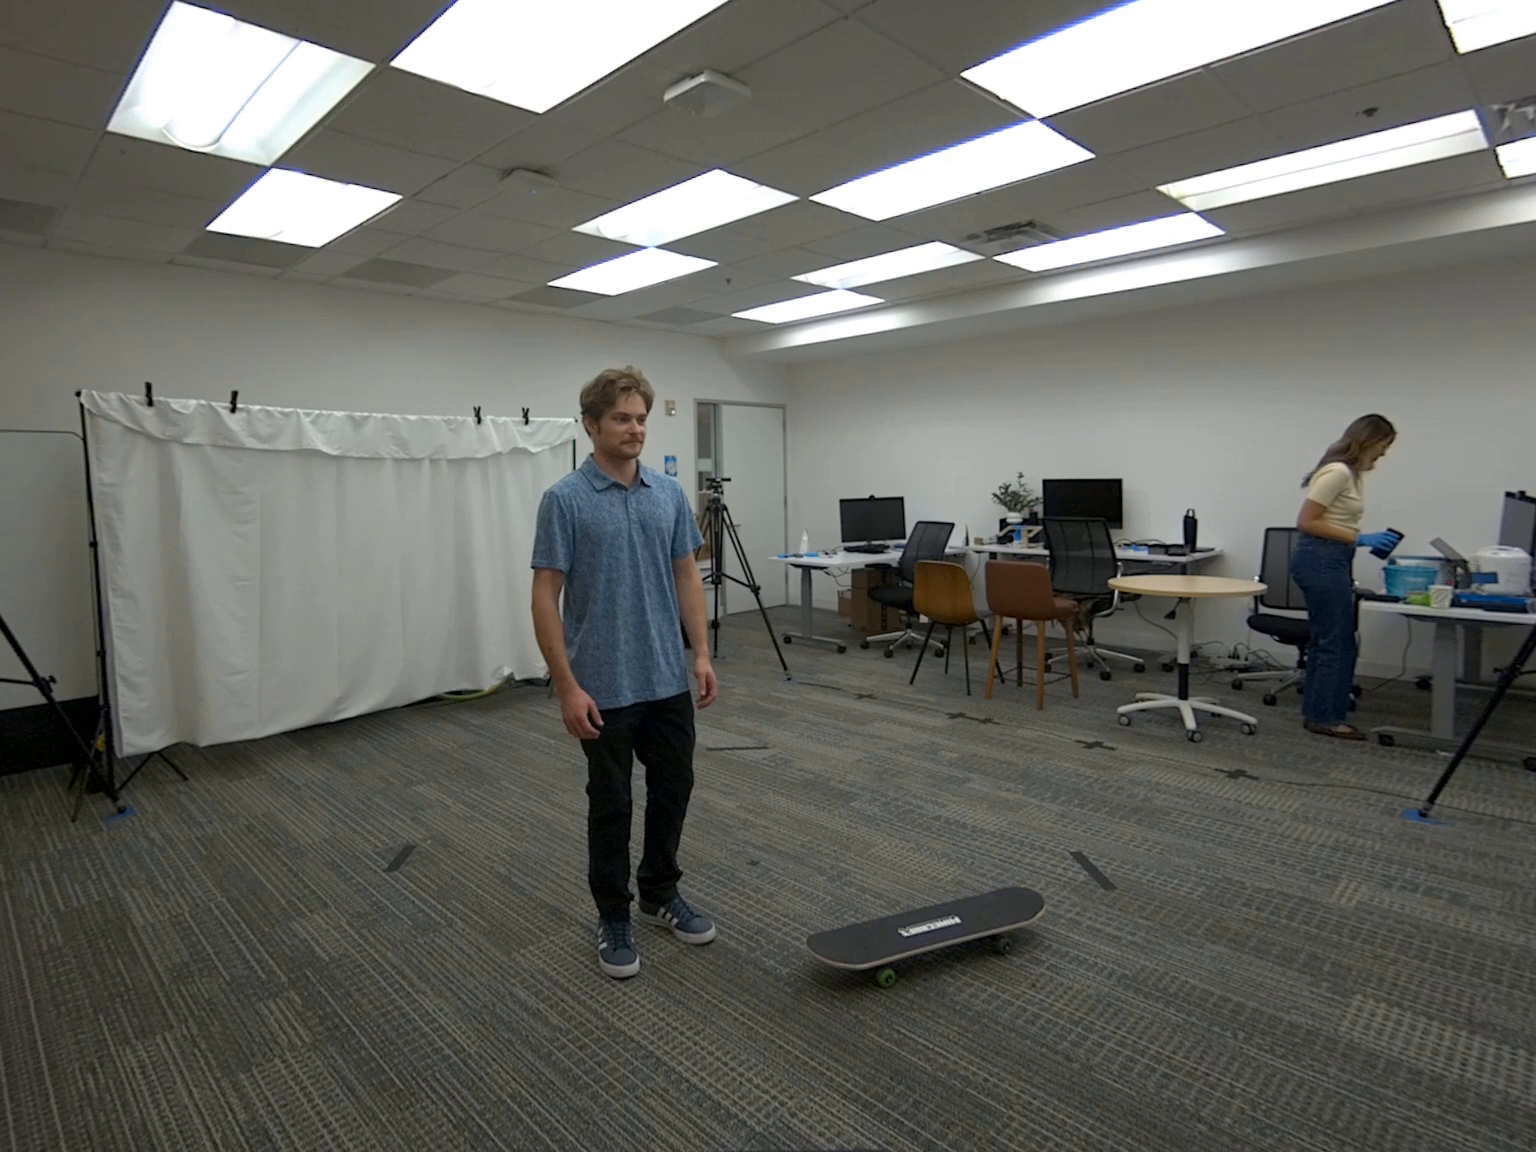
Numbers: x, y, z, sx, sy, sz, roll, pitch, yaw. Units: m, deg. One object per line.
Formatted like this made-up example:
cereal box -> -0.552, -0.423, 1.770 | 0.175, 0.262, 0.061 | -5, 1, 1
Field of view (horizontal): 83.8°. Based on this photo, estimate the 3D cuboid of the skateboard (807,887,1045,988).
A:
skateboard -> 0.470, 1.045, 2.485 | 0.771, 0.110, 0.198 | -4, 6, -21
